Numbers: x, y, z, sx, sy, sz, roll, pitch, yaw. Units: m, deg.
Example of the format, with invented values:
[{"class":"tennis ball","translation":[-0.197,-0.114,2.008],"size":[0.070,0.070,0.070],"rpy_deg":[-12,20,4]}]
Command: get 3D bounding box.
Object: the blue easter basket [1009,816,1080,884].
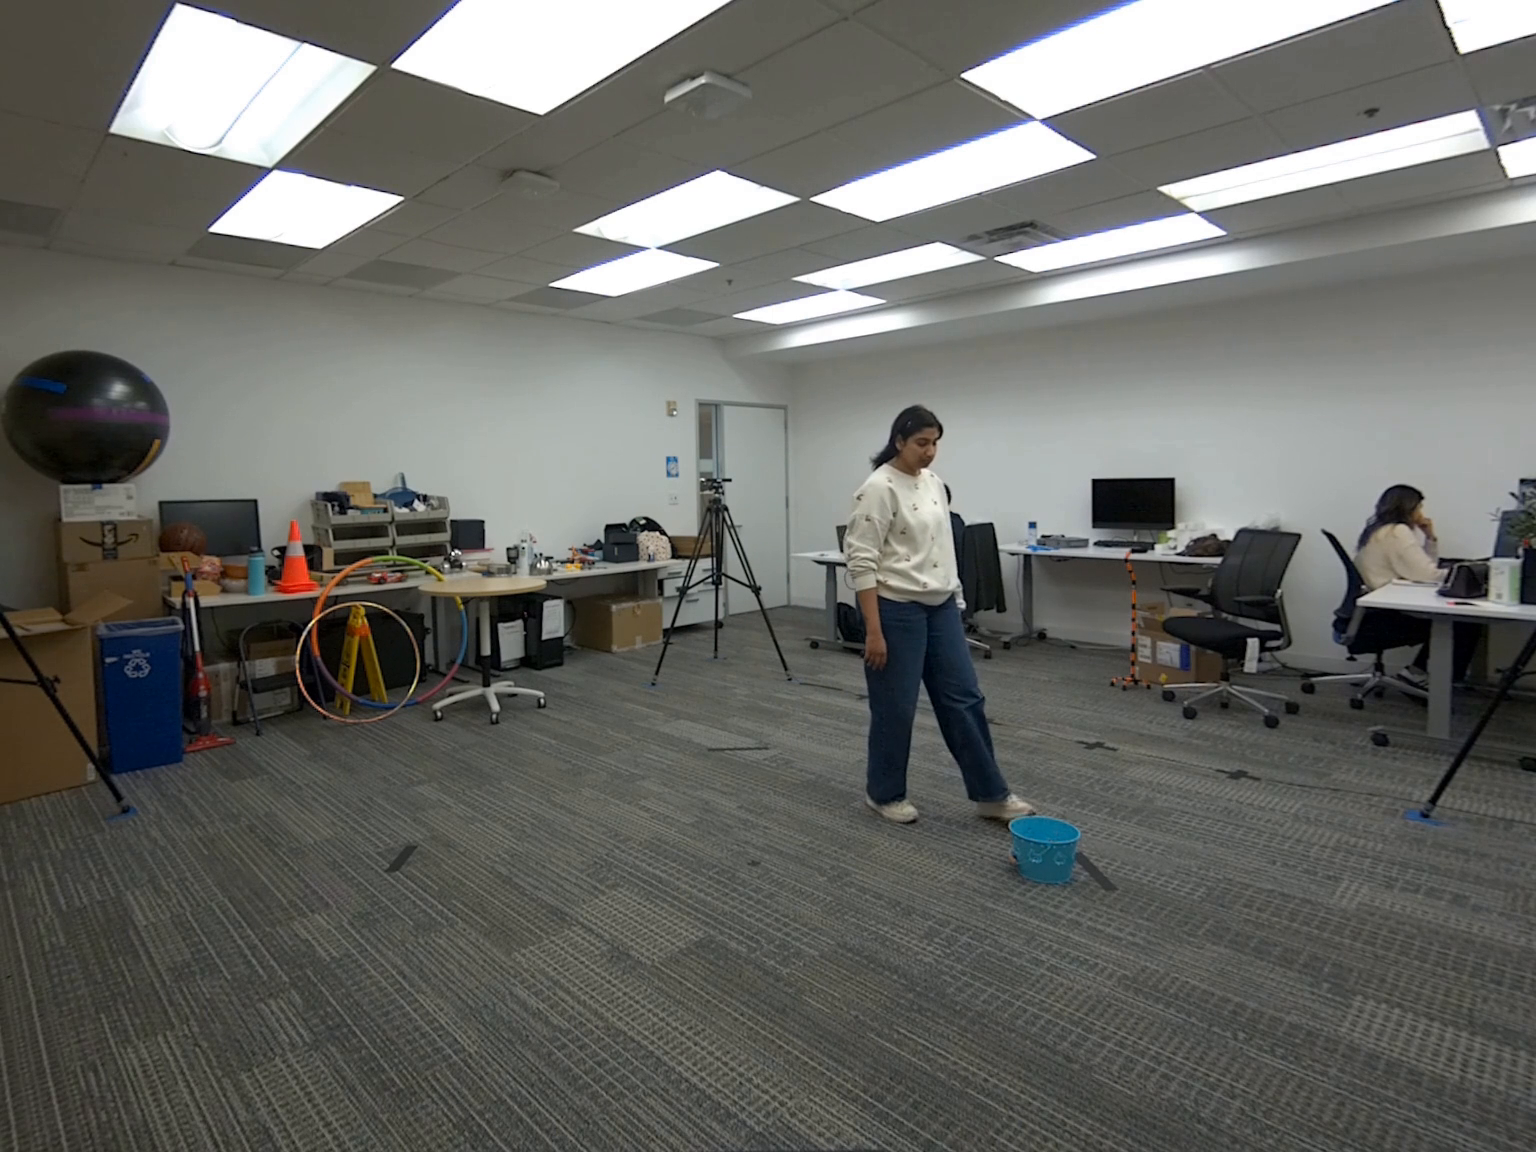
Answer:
[{"class":"blue easter basket","translation":[0.969,0.967,2.988],"size":[0.243,0.155,0.245],"rpy_deg":[-2,5,-2]}]
